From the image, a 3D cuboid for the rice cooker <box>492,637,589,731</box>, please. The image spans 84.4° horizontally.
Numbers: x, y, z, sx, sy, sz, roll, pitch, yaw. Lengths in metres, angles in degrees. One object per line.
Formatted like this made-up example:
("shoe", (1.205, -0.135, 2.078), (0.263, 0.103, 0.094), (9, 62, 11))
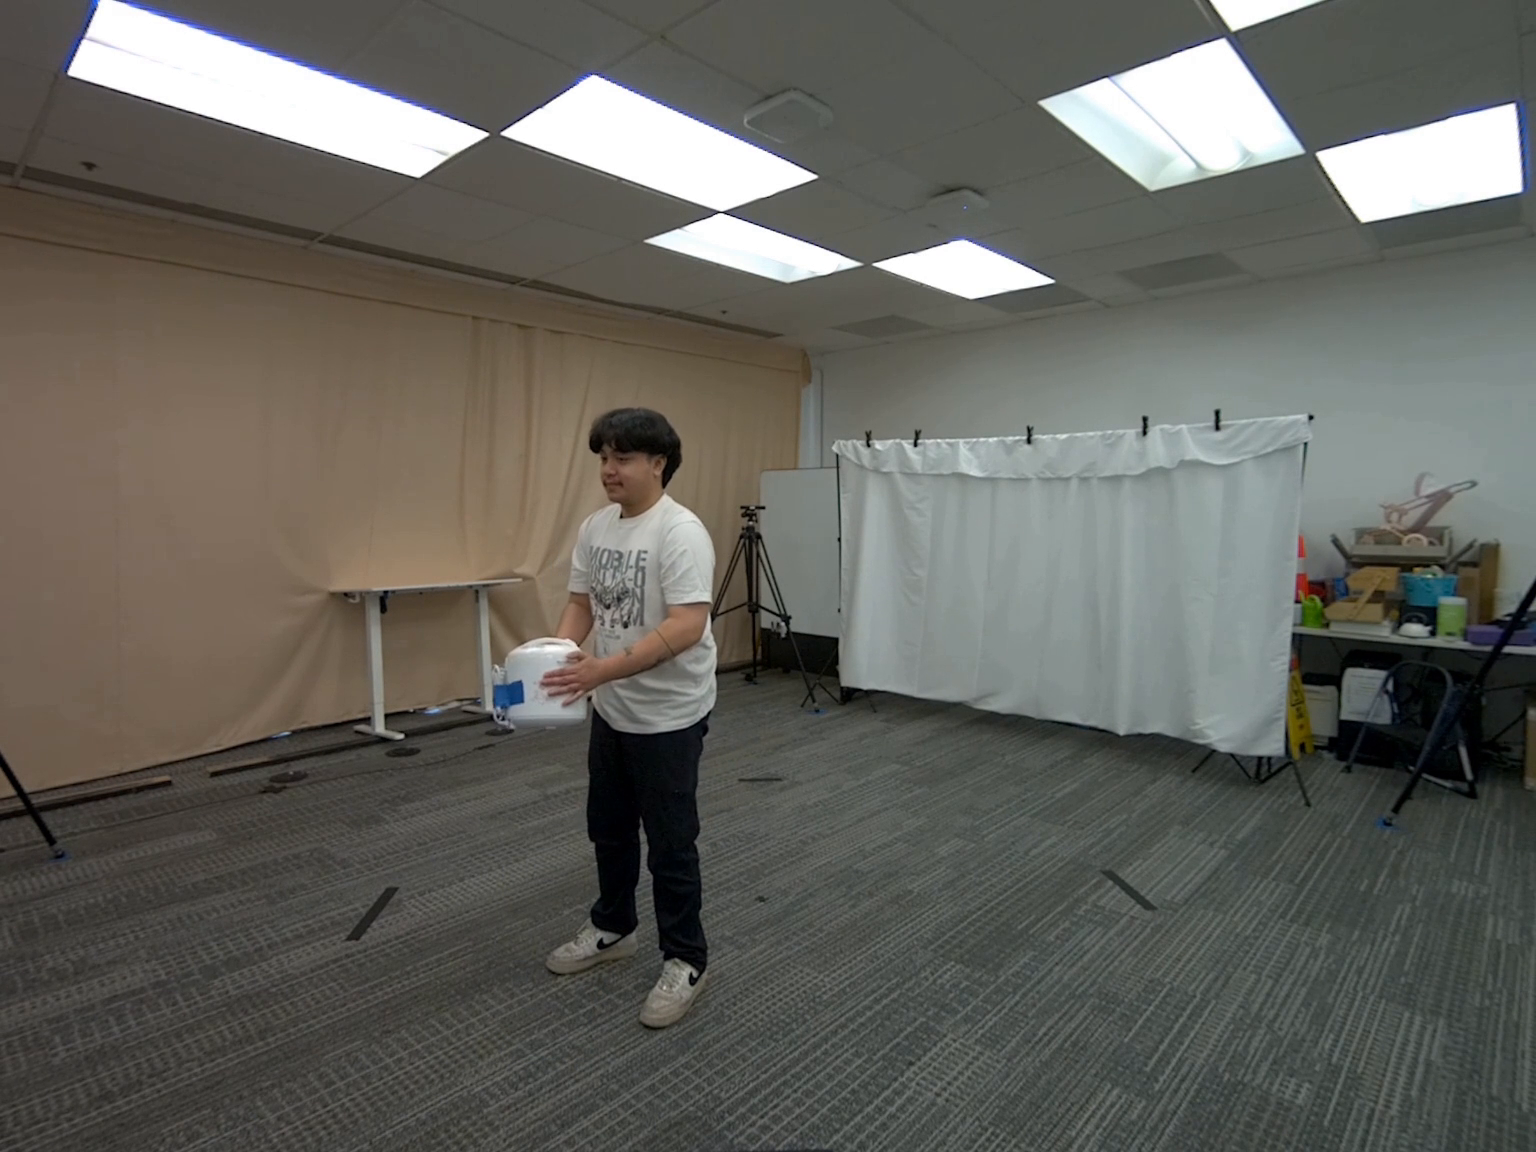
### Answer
("rice cooker", (-0.571, 0.275, 2.191), (0.225, 0.234, 0.212), (-3, -10, 17))
